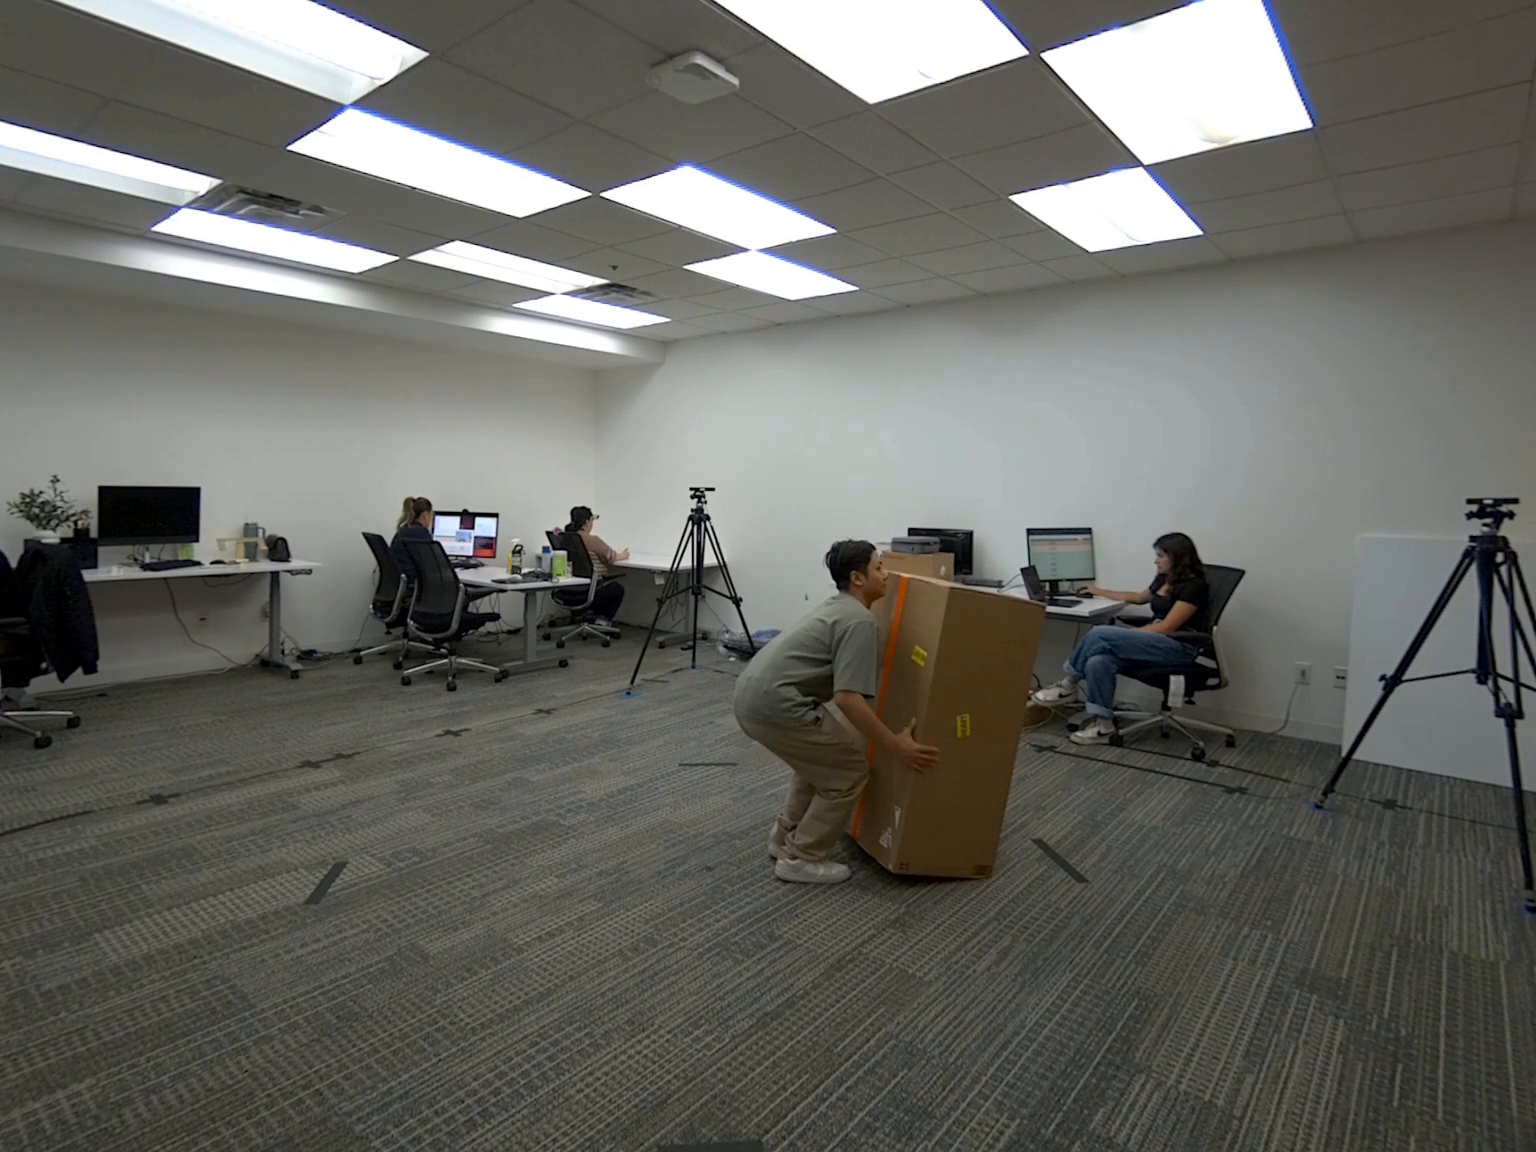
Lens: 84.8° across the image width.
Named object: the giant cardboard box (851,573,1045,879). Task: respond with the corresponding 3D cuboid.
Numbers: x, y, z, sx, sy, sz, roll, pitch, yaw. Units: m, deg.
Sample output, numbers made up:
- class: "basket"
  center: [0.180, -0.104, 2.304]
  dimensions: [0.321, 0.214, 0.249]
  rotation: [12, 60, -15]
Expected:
- class: "giant cardboard box"
  center: [0.626, 0.537, 3.283]
  dimensions: [0.416, 1.025, 0.592]
  rotation: [11, 1, -22]
